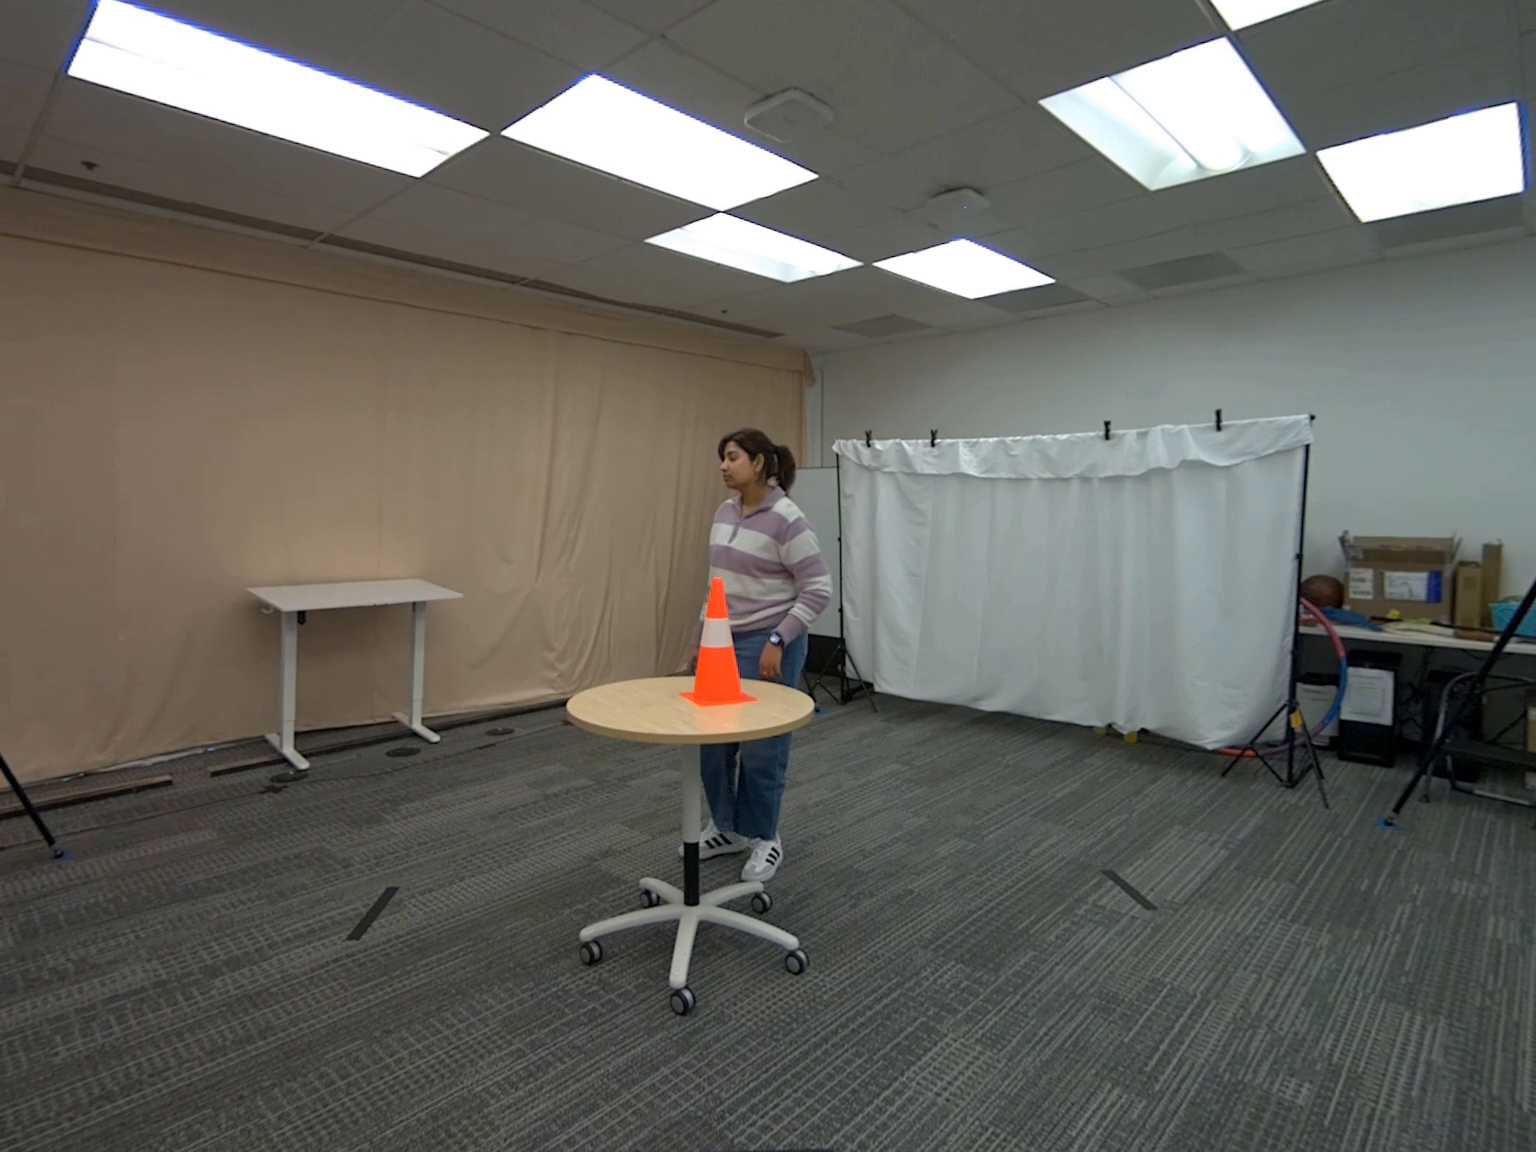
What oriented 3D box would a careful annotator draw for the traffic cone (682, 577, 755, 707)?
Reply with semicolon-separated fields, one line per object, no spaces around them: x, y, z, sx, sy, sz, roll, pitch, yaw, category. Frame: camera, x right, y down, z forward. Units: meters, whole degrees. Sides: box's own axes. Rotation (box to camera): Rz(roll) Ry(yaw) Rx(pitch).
-0.162;0.198;2.674;0.199;0.383;0.210;-3;3;-24;traffic cone
